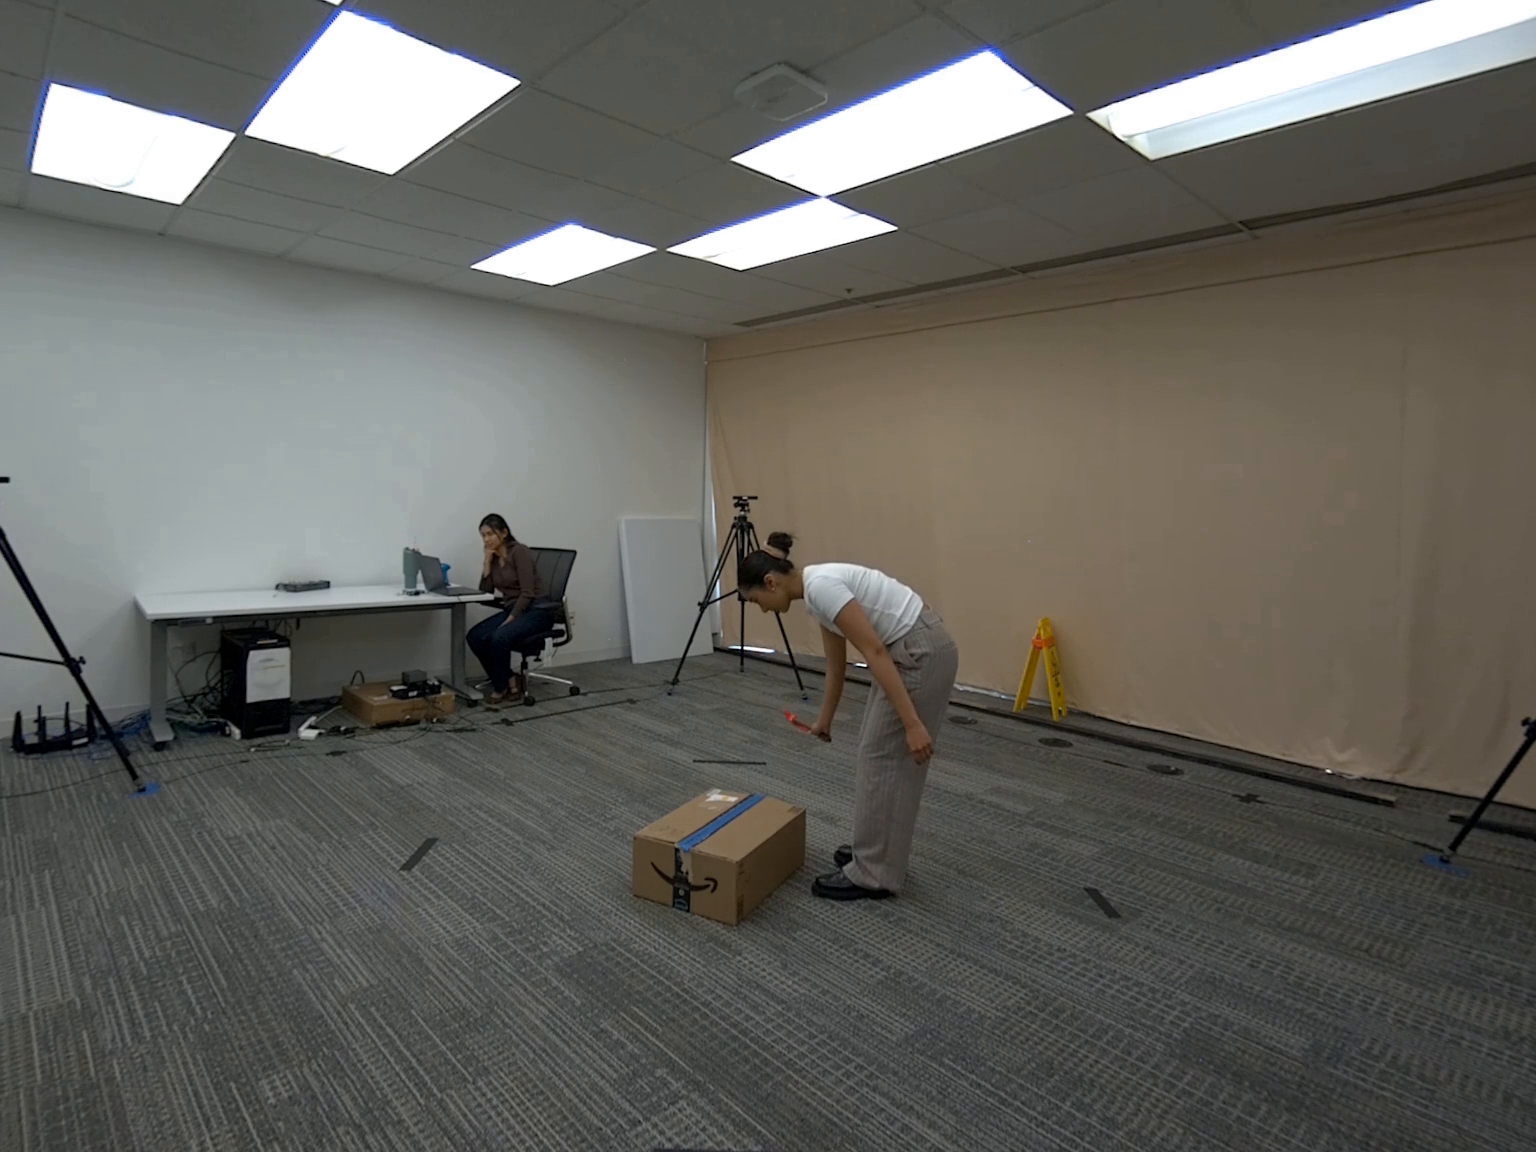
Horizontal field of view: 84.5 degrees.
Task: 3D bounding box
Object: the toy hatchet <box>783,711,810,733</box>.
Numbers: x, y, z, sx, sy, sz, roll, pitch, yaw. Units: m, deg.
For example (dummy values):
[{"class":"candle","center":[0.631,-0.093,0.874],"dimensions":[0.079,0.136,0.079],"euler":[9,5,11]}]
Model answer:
[{"class":"toy hatchet","center":[0.162,0.633,3.433],"dimensions":[0.278,0.029,0.127],"euler":[26,-19,49]}]
